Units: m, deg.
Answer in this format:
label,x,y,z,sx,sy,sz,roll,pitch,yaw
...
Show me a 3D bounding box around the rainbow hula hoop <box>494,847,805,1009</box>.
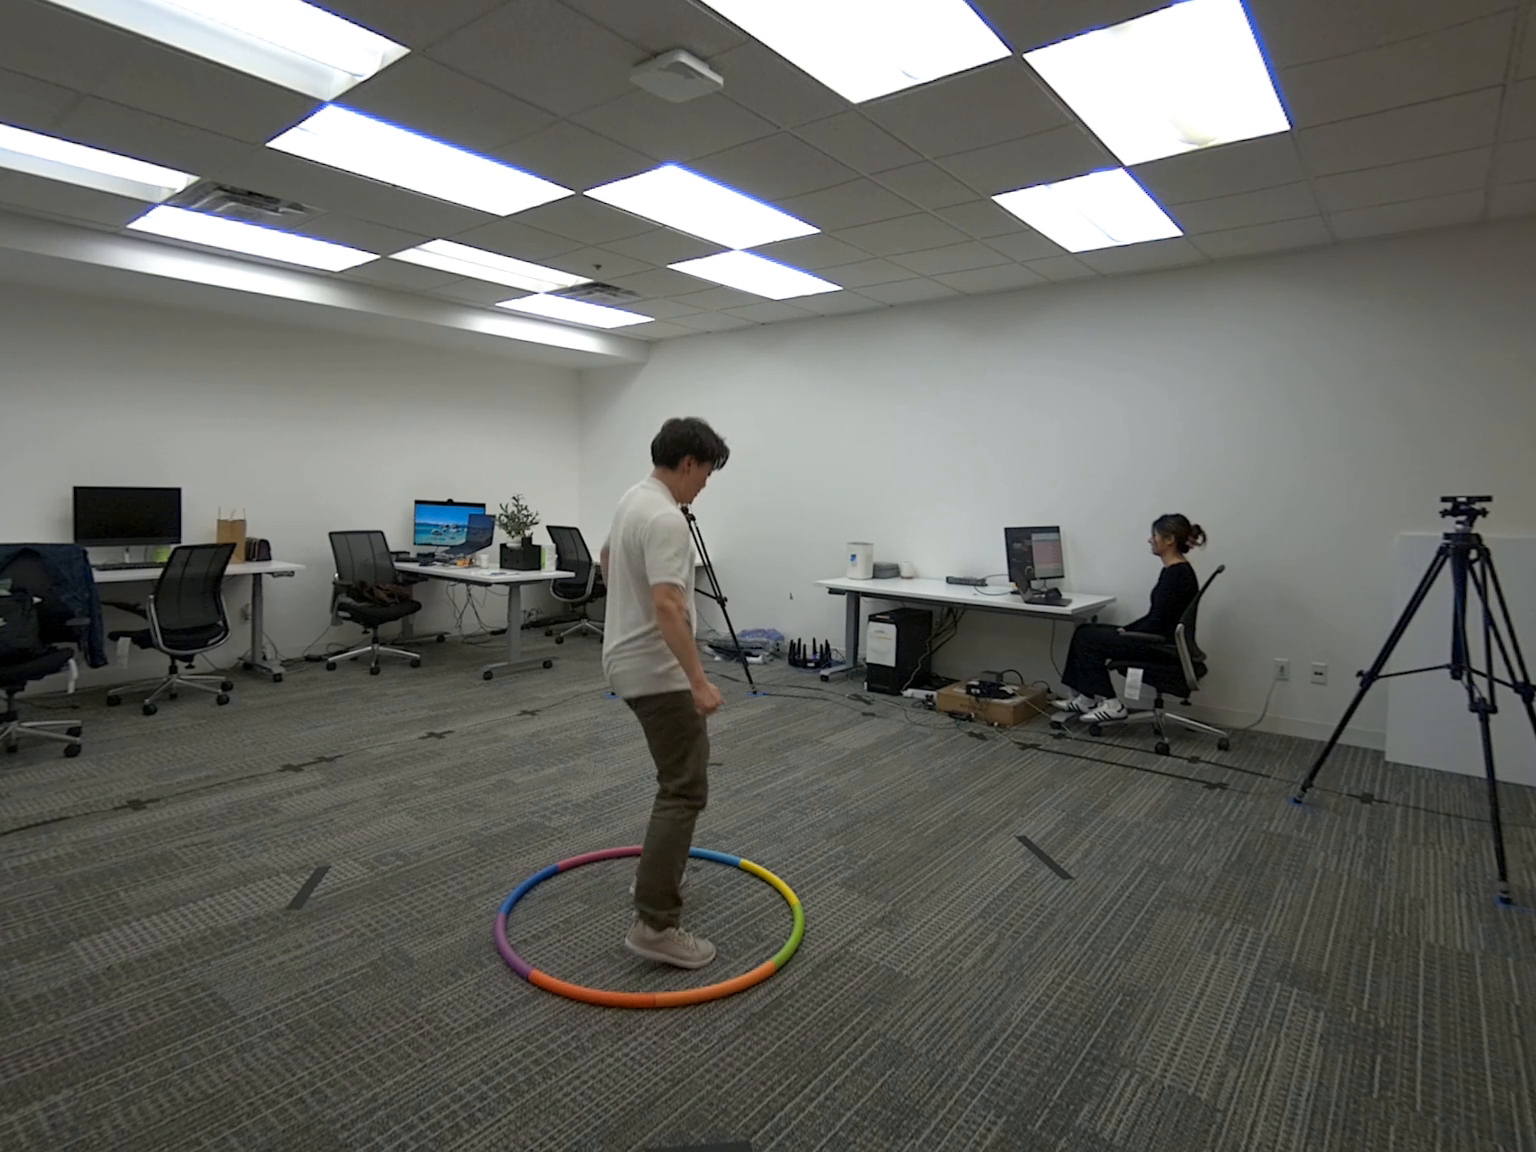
label,x,y,z,sx,sy,sz,roll,pitch,yaw
rainbow hula hoop,-0.382,1.071,2.750,0.978,0.035,0.983,1,5,-2
